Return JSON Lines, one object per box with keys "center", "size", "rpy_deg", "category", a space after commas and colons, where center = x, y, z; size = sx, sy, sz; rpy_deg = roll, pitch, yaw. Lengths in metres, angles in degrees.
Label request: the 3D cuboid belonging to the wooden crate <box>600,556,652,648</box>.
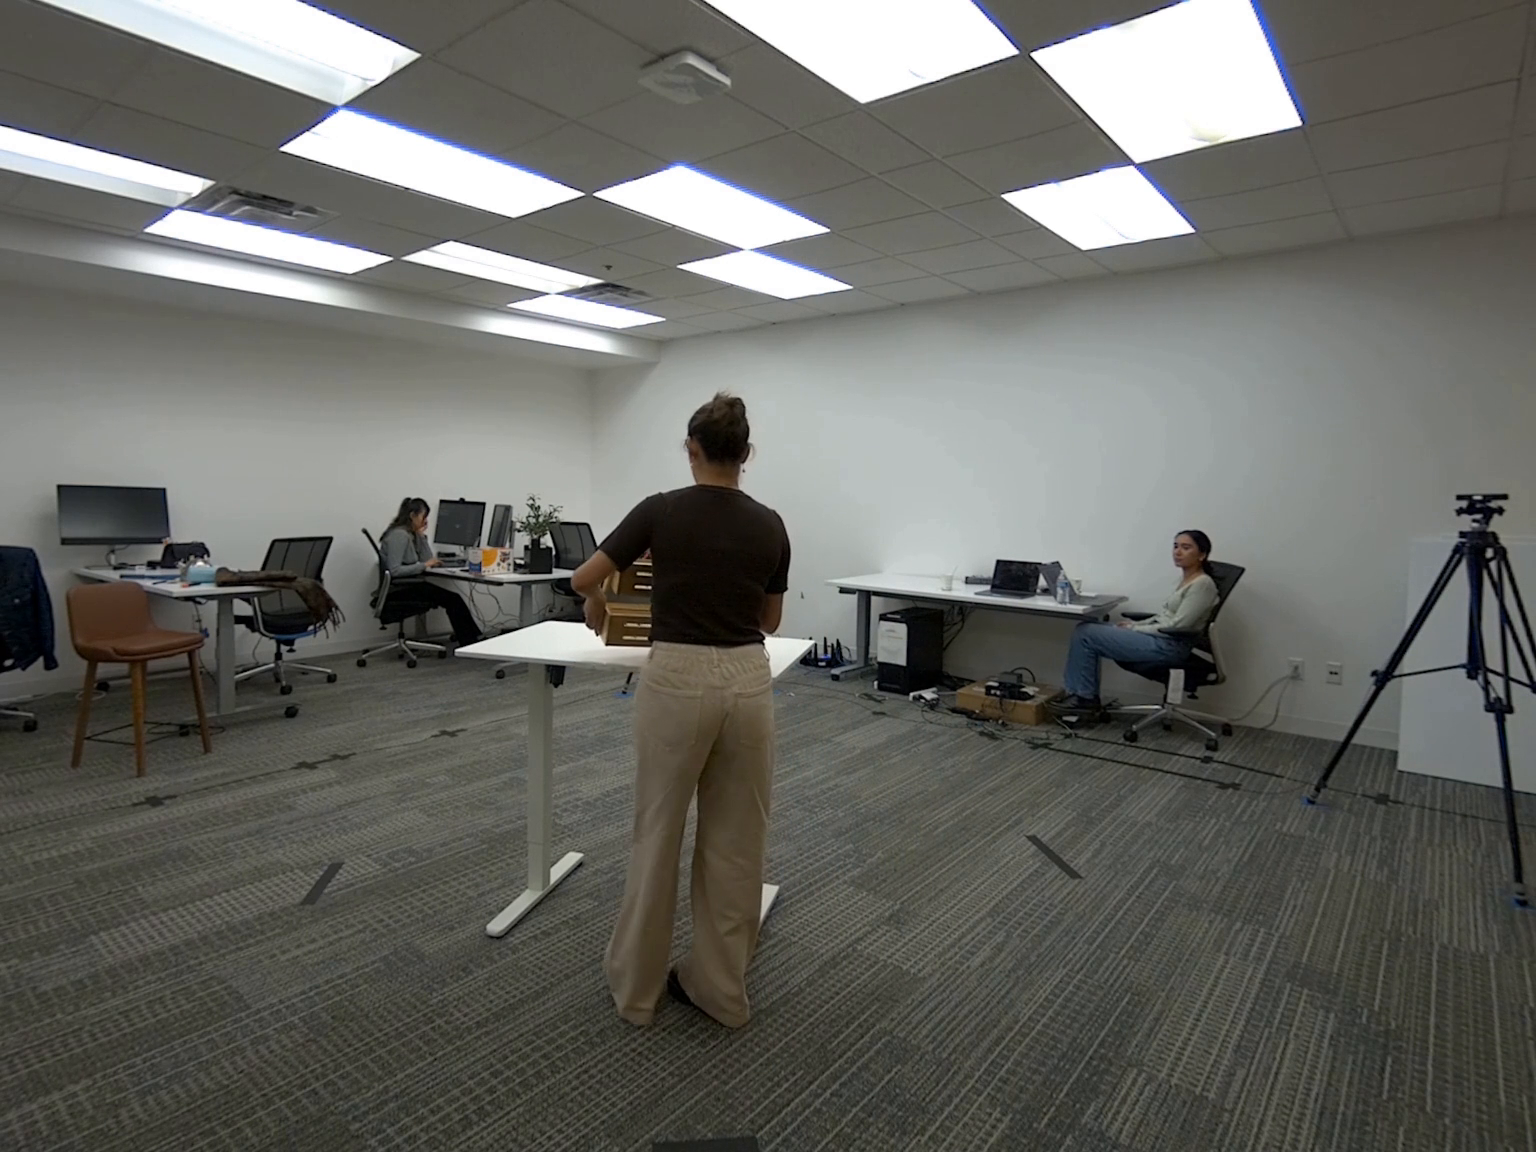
{"center": [-0.347, 0.051, 2.483], "size": [0.317, 0.270, 0.312], "rpy_deg": [4, 14, -20], "category": "wooden crate"}
